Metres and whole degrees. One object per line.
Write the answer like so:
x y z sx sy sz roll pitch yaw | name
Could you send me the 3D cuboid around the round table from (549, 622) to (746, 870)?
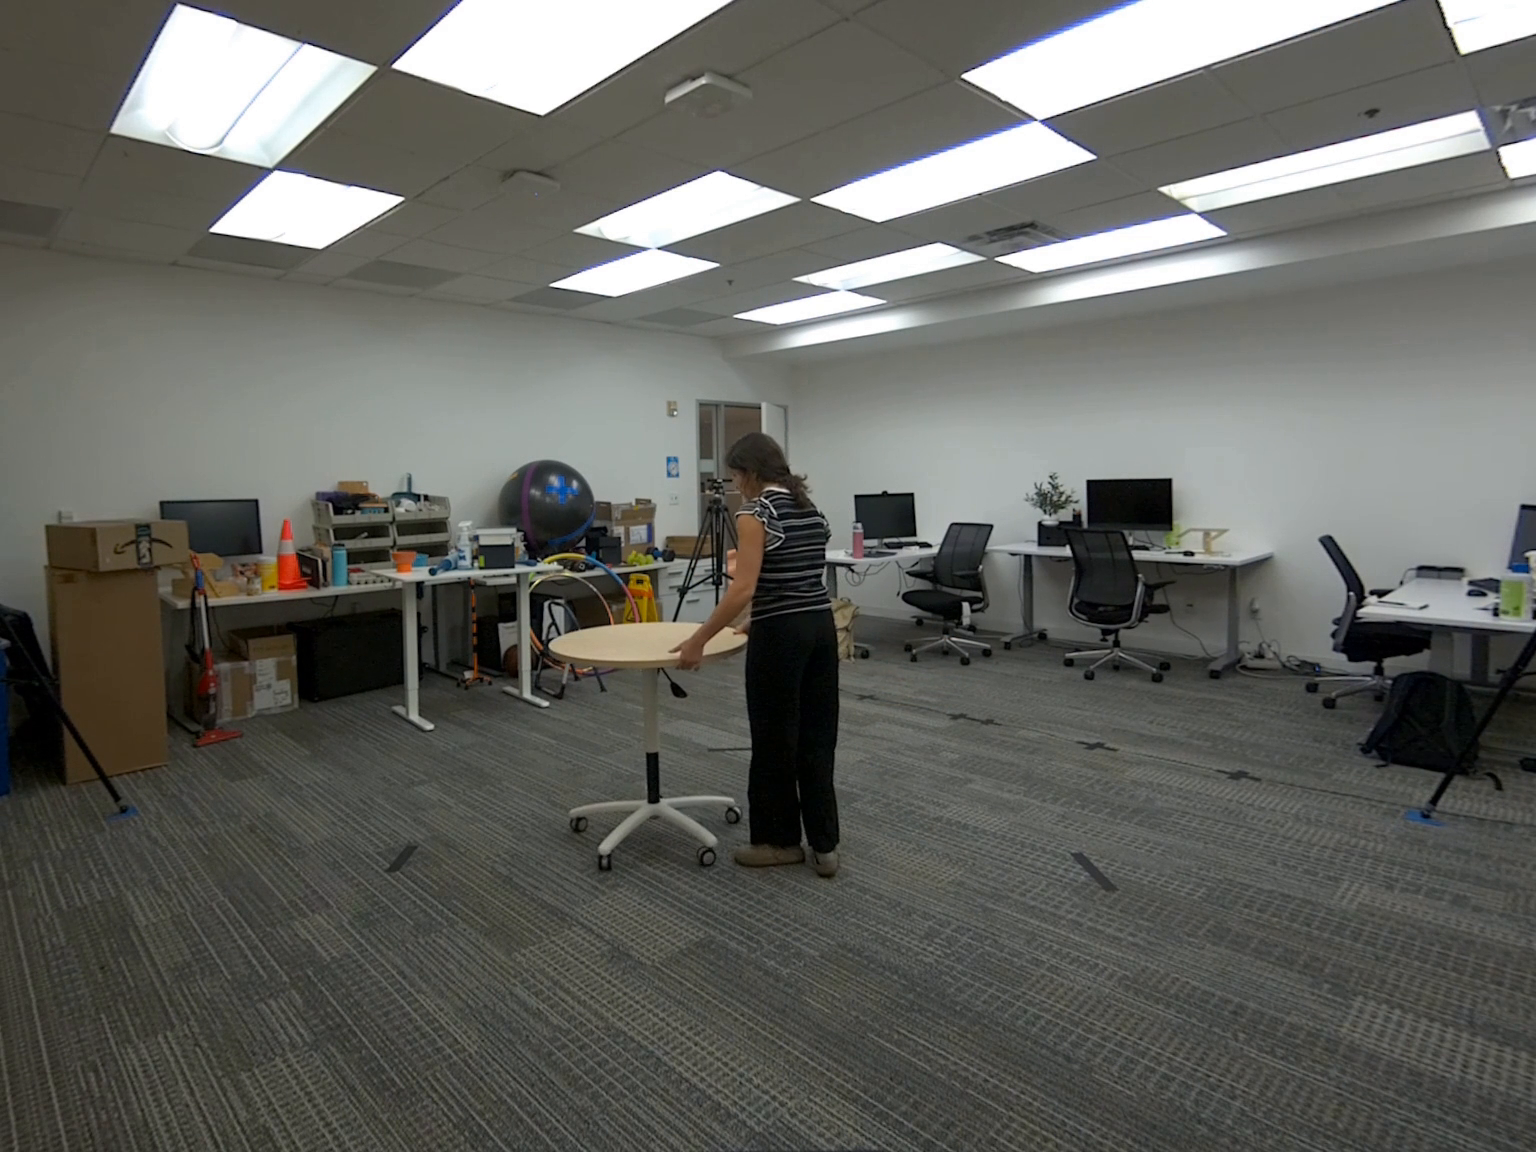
-0.441 0.631 3.318 0.784 0.783 0.789 -1 5 -2 | round table
